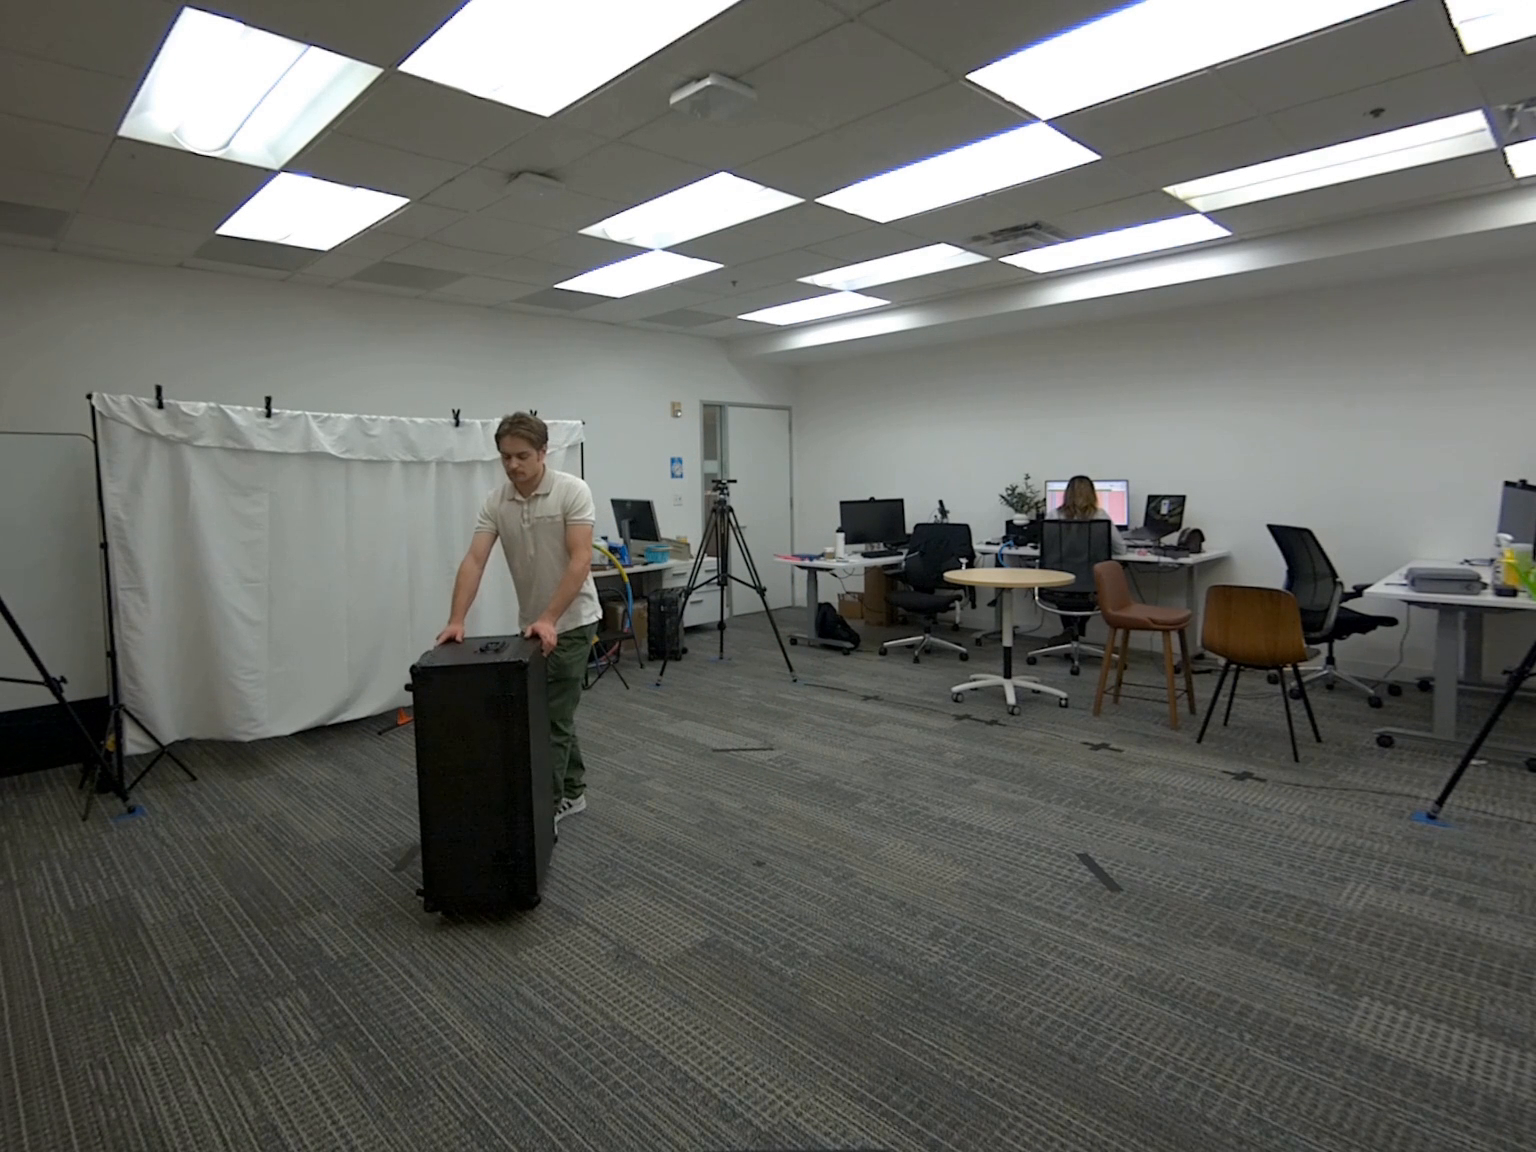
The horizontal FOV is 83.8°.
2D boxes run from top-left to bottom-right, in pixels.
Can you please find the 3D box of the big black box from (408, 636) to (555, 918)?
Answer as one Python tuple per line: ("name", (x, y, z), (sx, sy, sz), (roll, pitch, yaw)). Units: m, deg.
("big black box", (-0.941, 0.670, 2.888), (0.383, 0.865, 0.529), (-2, 5, -7))
